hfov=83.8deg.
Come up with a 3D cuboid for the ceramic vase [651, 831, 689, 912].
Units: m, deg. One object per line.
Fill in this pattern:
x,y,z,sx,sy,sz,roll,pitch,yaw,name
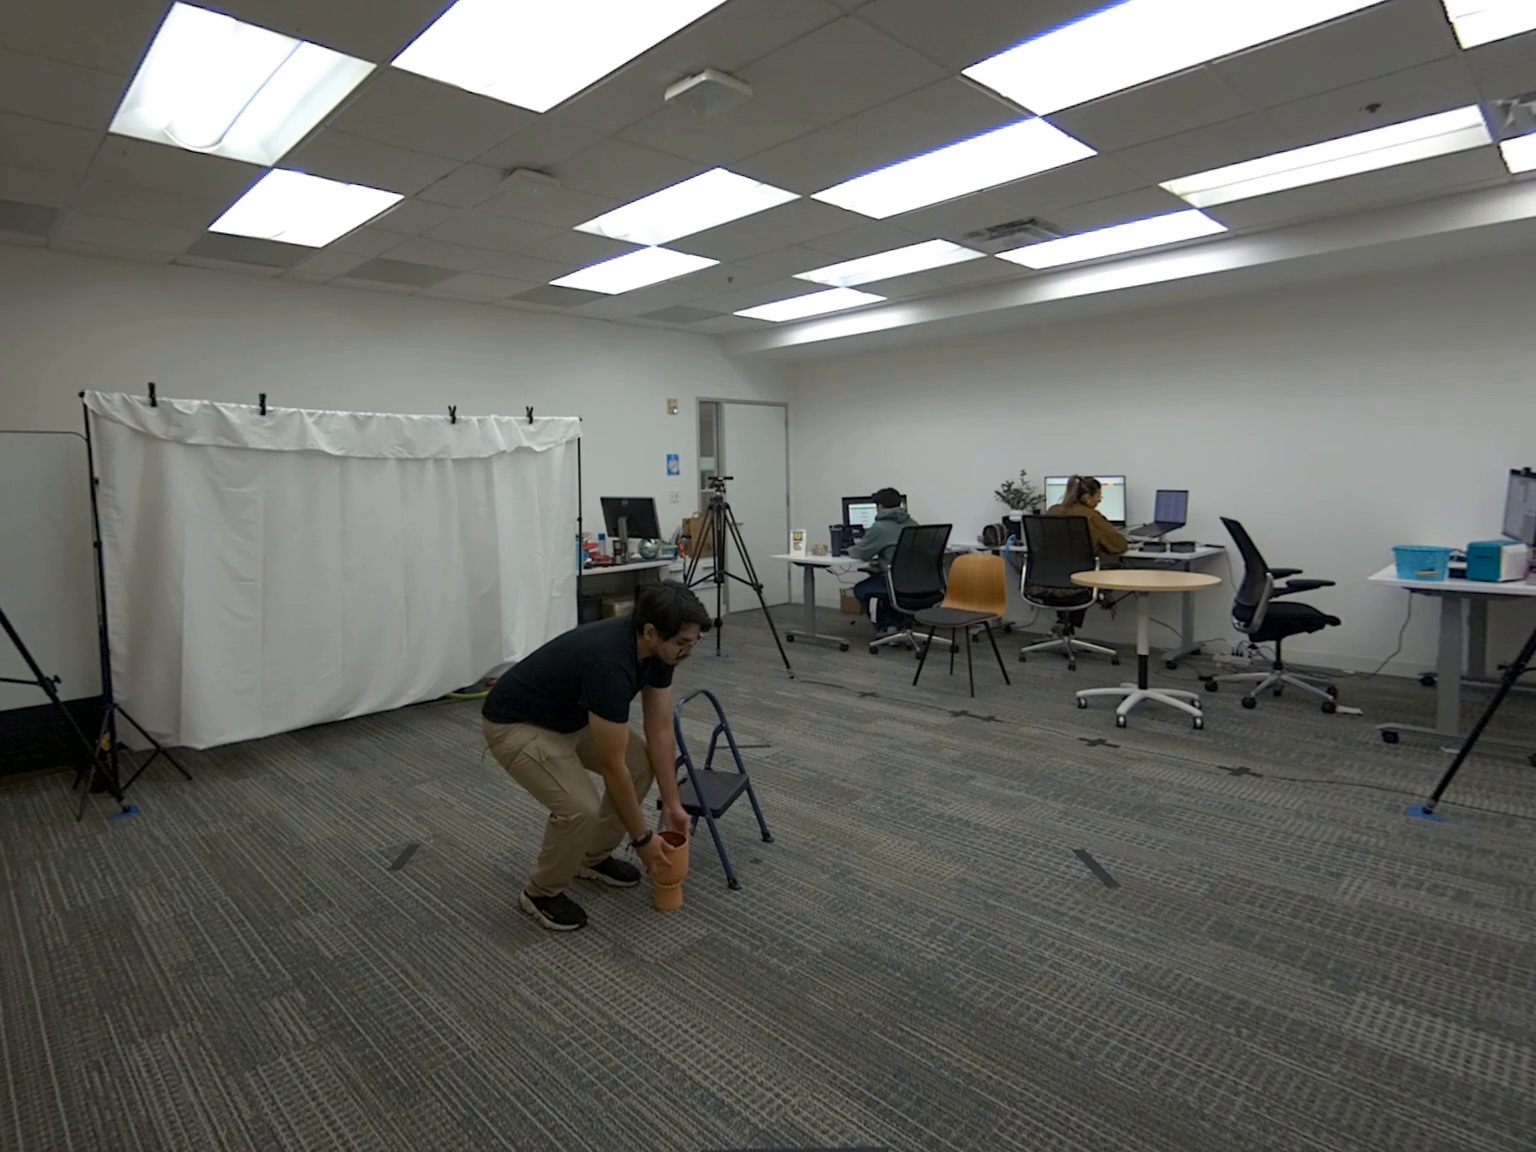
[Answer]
-0.331,0.969,2.798,0.155,0.218,0.139,-6,9,-34,ceramic vase
